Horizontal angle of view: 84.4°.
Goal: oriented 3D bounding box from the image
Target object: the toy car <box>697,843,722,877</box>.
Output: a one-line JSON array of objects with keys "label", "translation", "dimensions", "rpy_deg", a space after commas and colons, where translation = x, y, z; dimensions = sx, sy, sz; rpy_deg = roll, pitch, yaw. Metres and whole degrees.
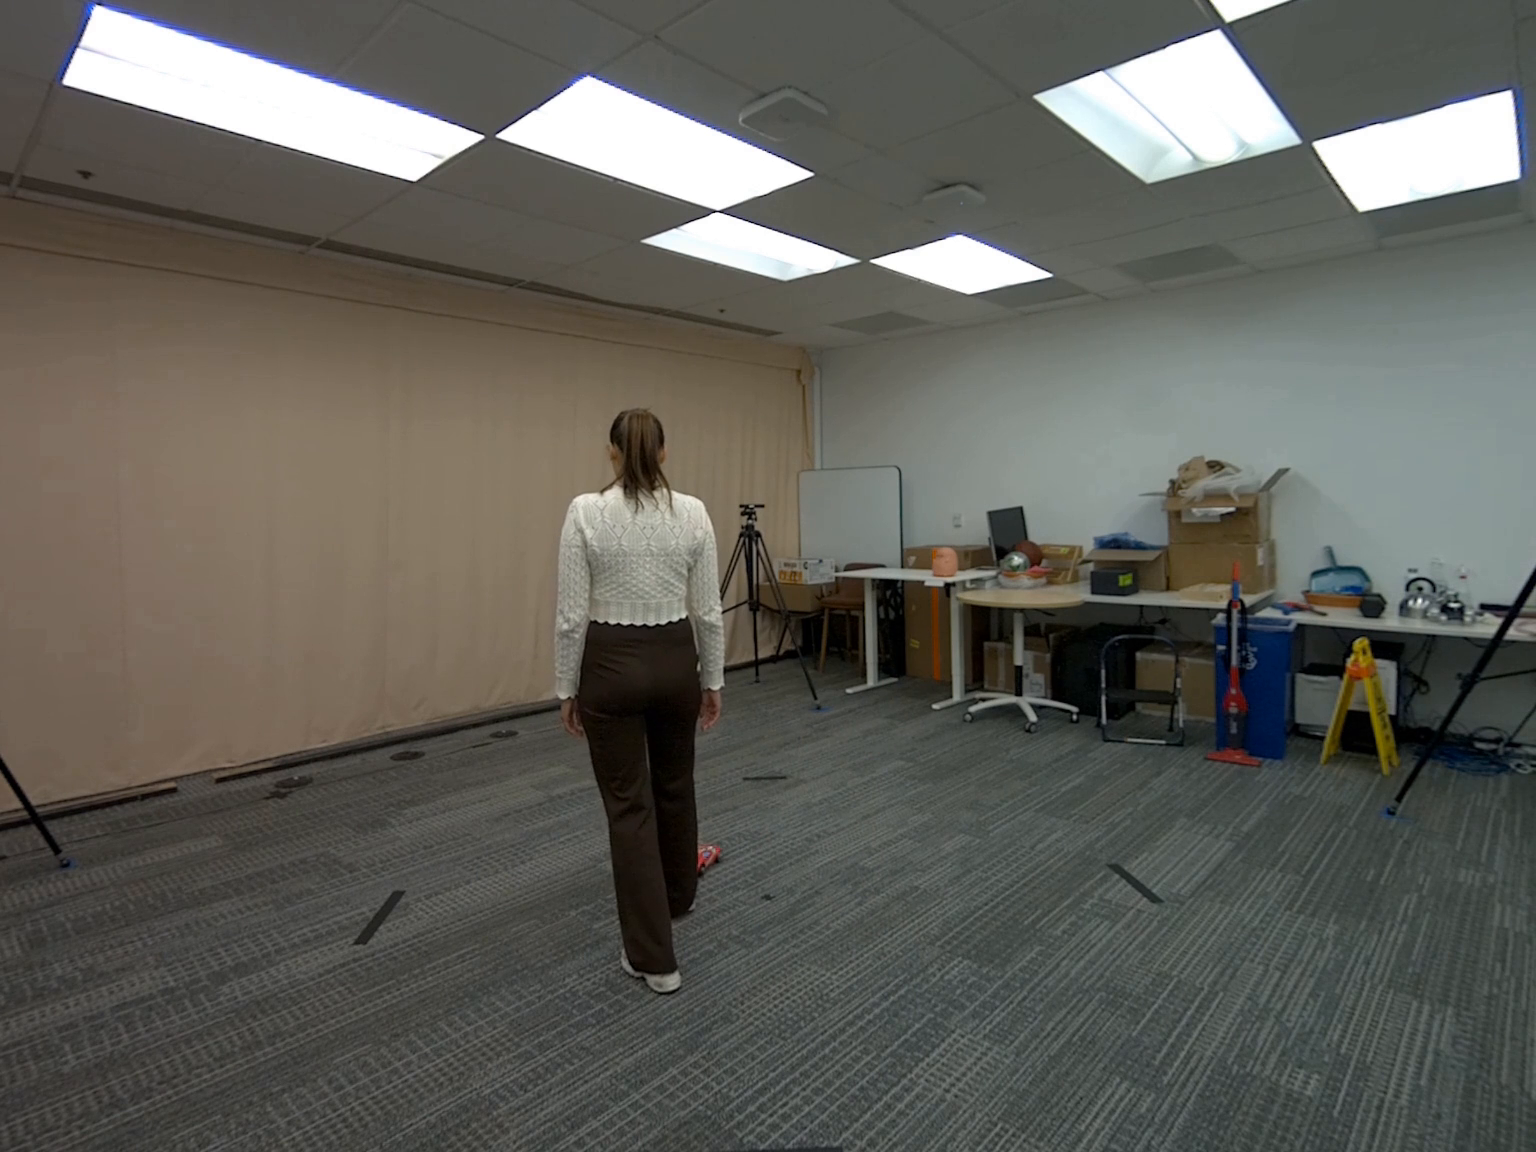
[{"label": "toy car", "translation": [-0.278, 1.095, 3.225], "dimensions": [0.134, 0.083, 0.247], "rpy_deg": [1, -6, 26]}]
